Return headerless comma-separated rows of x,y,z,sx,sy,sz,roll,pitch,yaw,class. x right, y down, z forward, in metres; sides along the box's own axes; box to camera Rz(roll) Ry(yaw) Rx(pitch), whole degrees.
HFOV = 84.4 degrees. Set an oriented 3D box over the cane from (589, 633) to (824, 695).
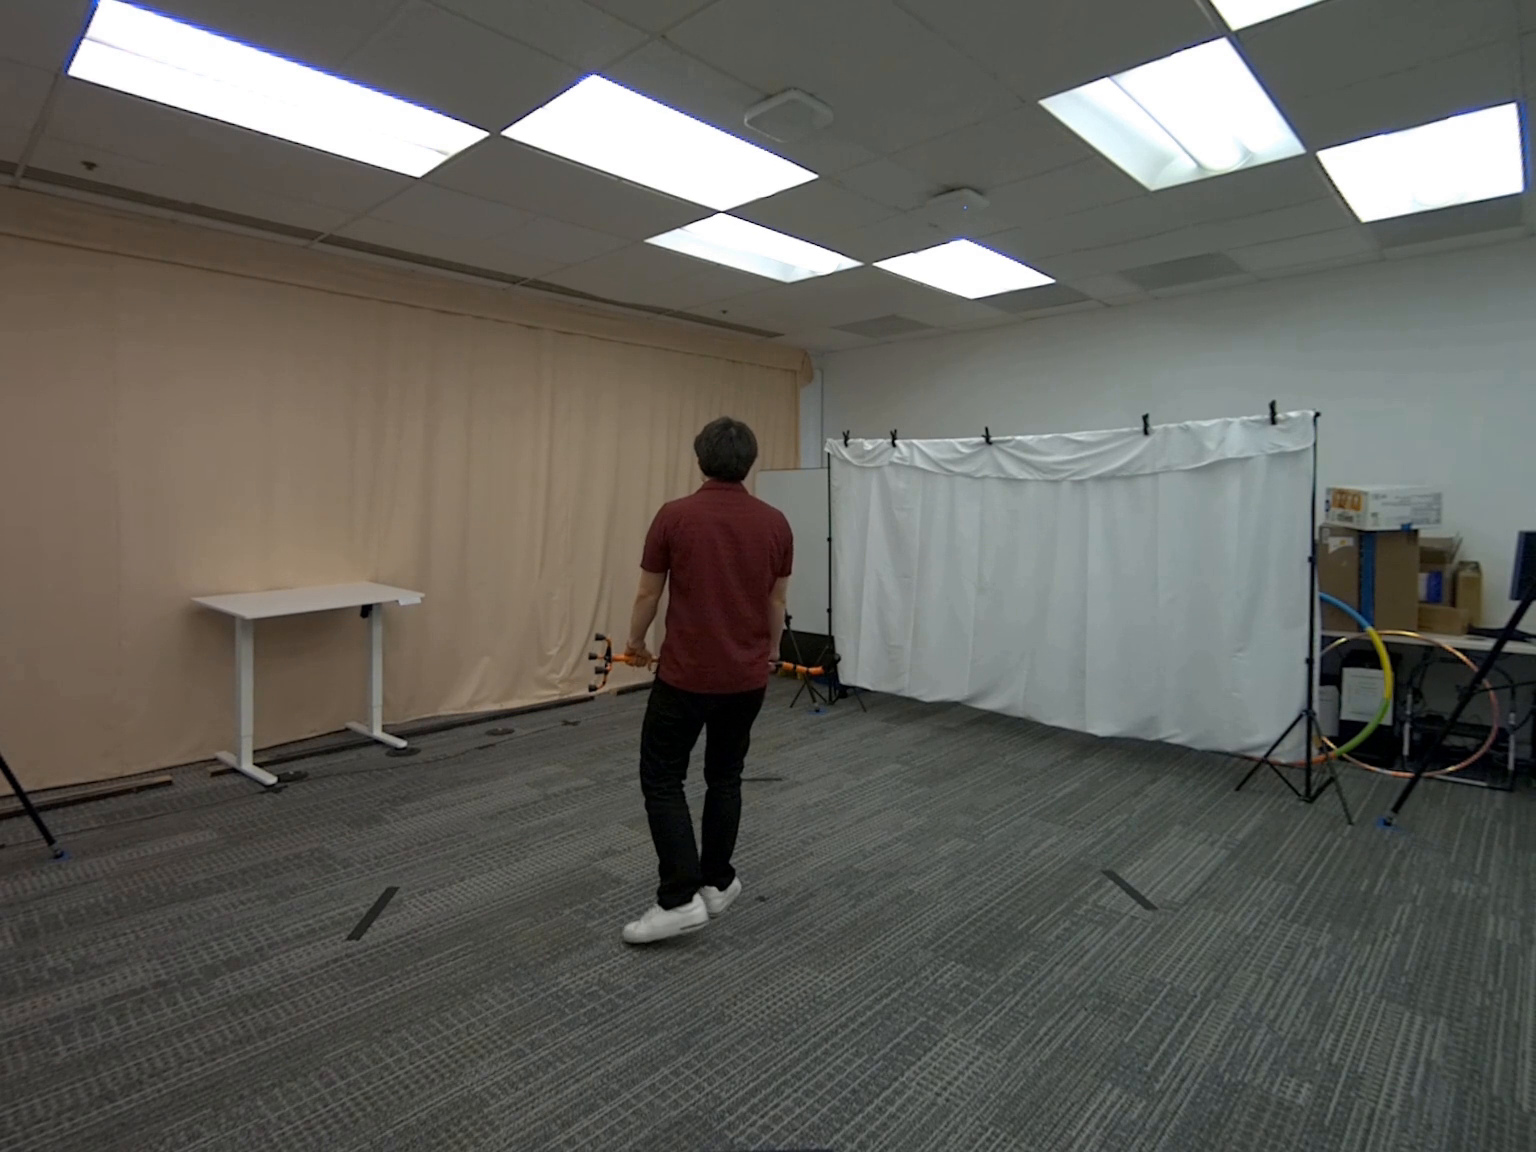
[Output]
-0.190,0.345,3.085,0.893,0.154,0.206,4,-30,-15,cane
